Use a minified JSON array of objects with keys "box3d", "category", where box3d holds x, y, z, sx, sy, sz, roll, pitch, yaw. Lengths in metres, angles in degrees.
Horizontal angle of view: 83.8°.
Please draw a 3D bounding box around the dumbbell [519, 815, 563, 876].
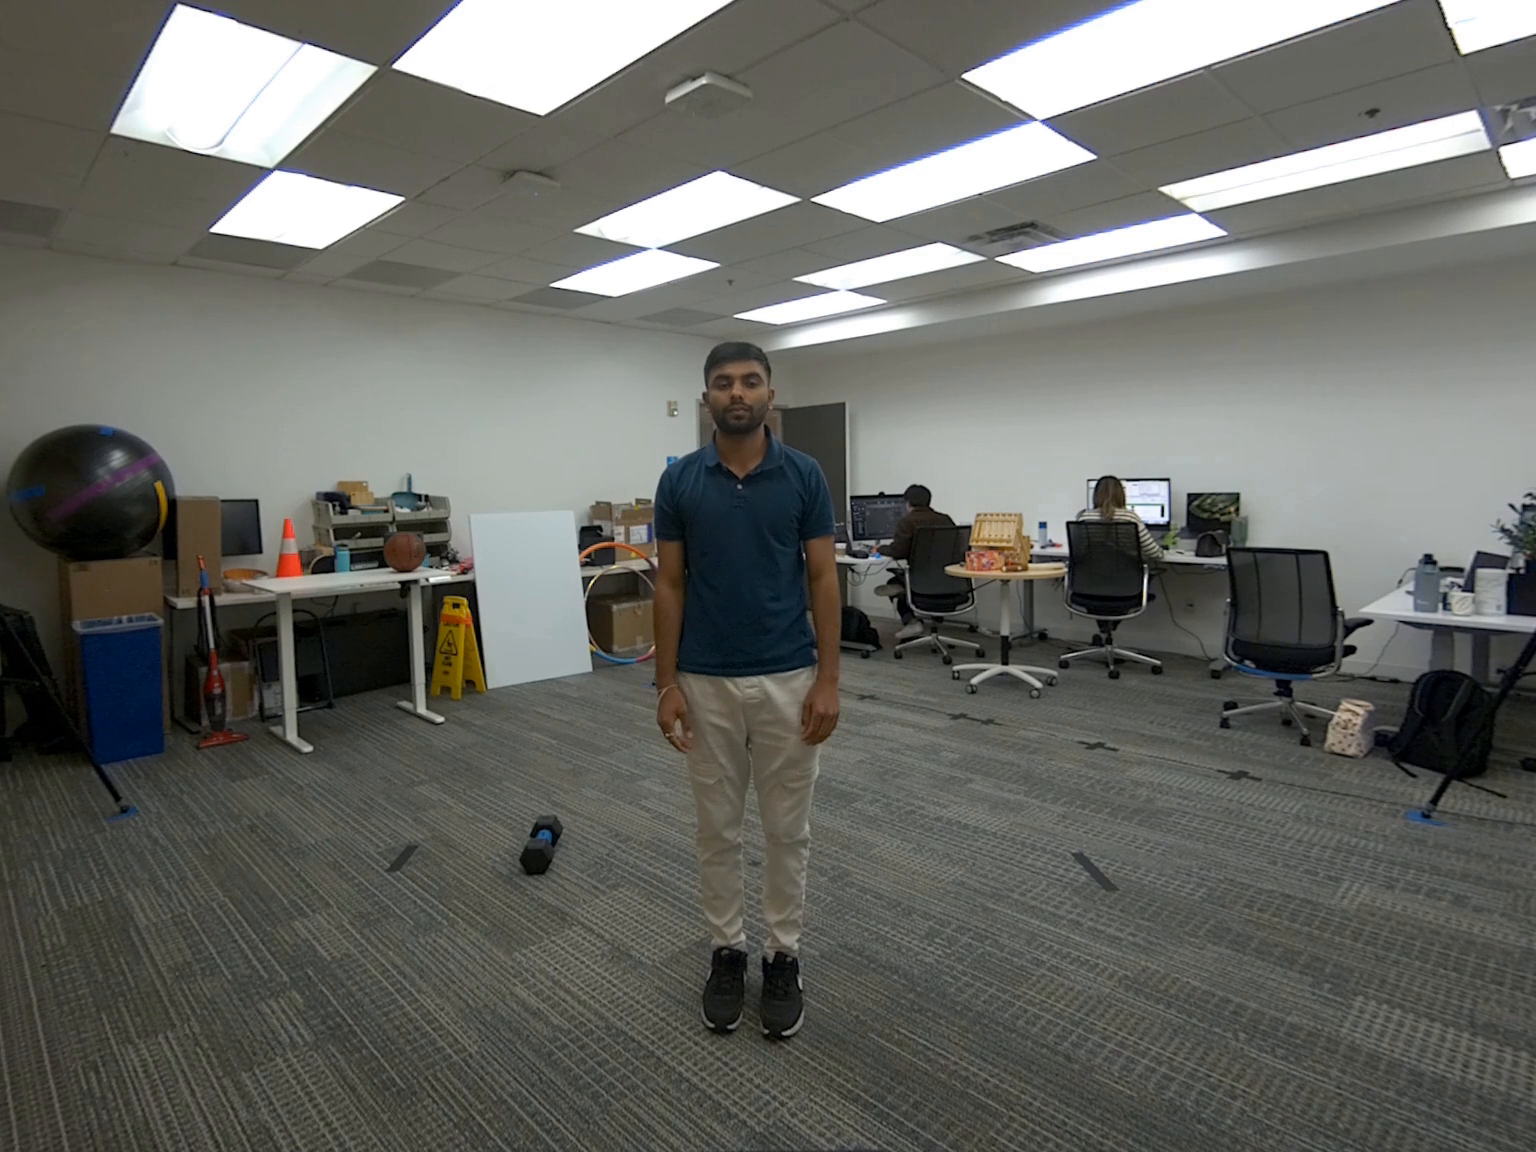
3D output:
[{"box3d":[-0.838,0.999,3.184,0.108,0.123,0.296,29,2,-7],"category":"dumbbell"}]
